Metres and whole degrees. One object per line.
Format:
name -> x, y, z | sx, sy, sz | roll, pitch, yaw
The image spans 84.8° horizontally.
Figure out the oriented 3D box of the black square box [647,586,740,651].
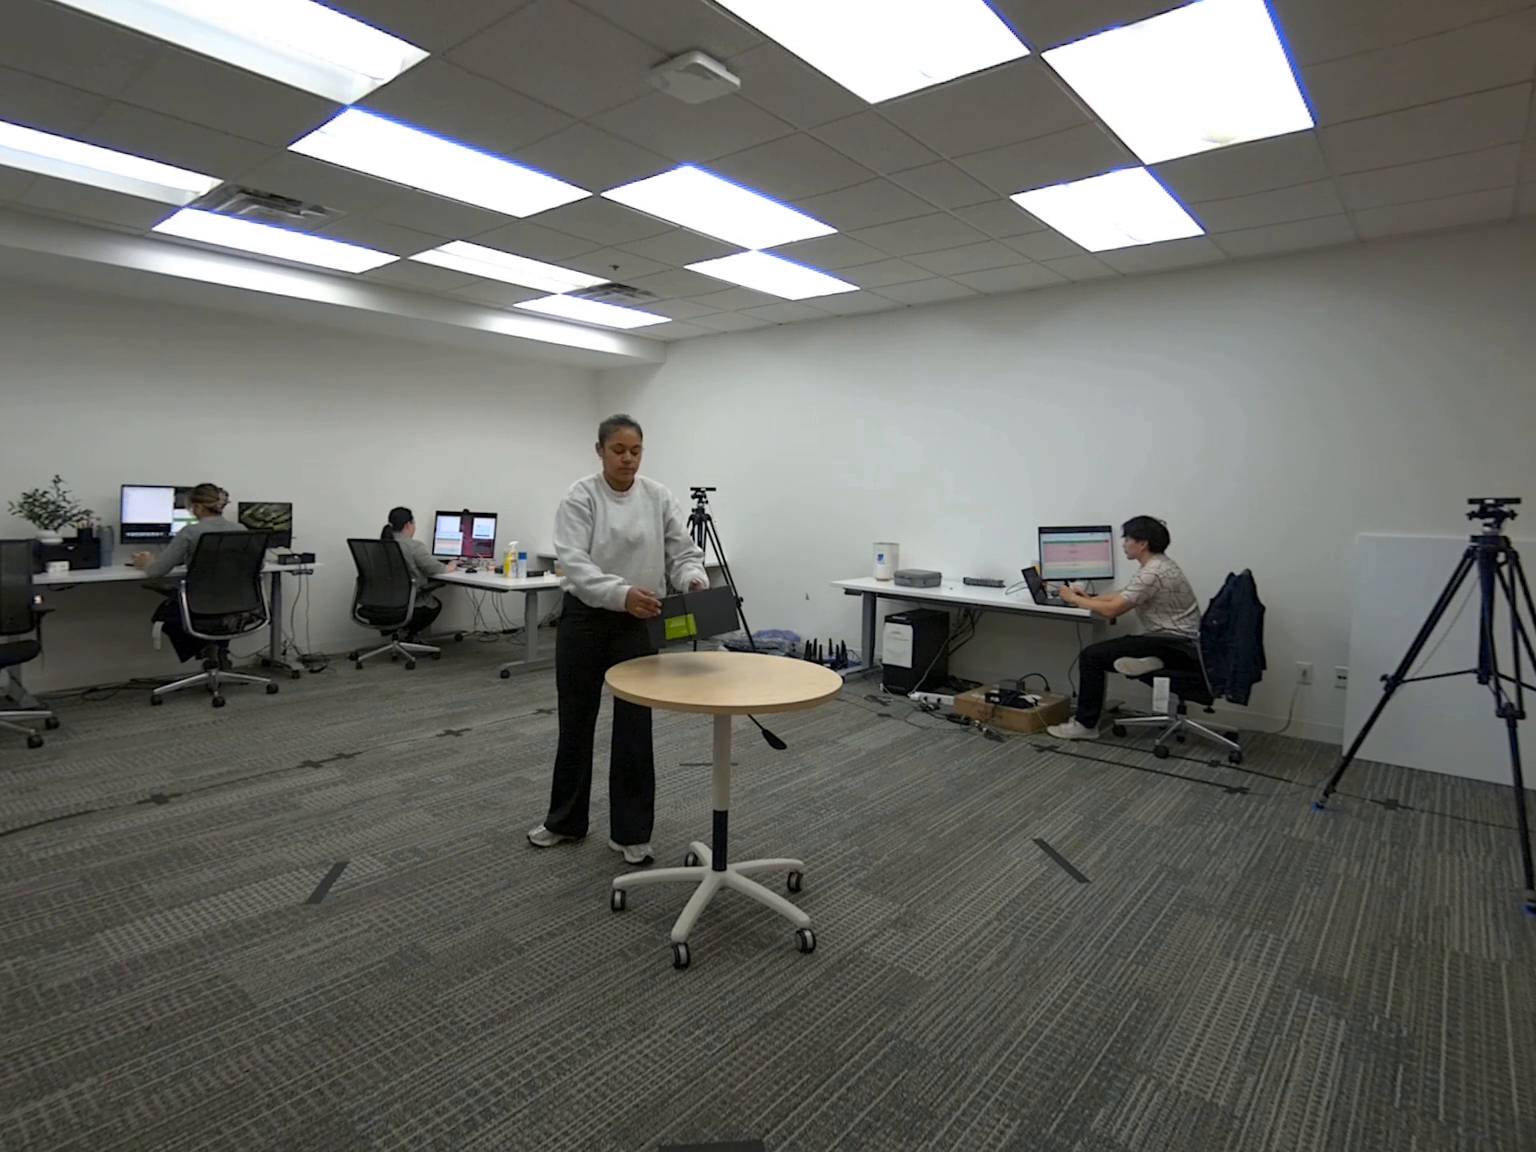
black square box -> -0.278, 0.132, 2.847 | 0.211, 0.156, 0.233 | -8, -3, -41
